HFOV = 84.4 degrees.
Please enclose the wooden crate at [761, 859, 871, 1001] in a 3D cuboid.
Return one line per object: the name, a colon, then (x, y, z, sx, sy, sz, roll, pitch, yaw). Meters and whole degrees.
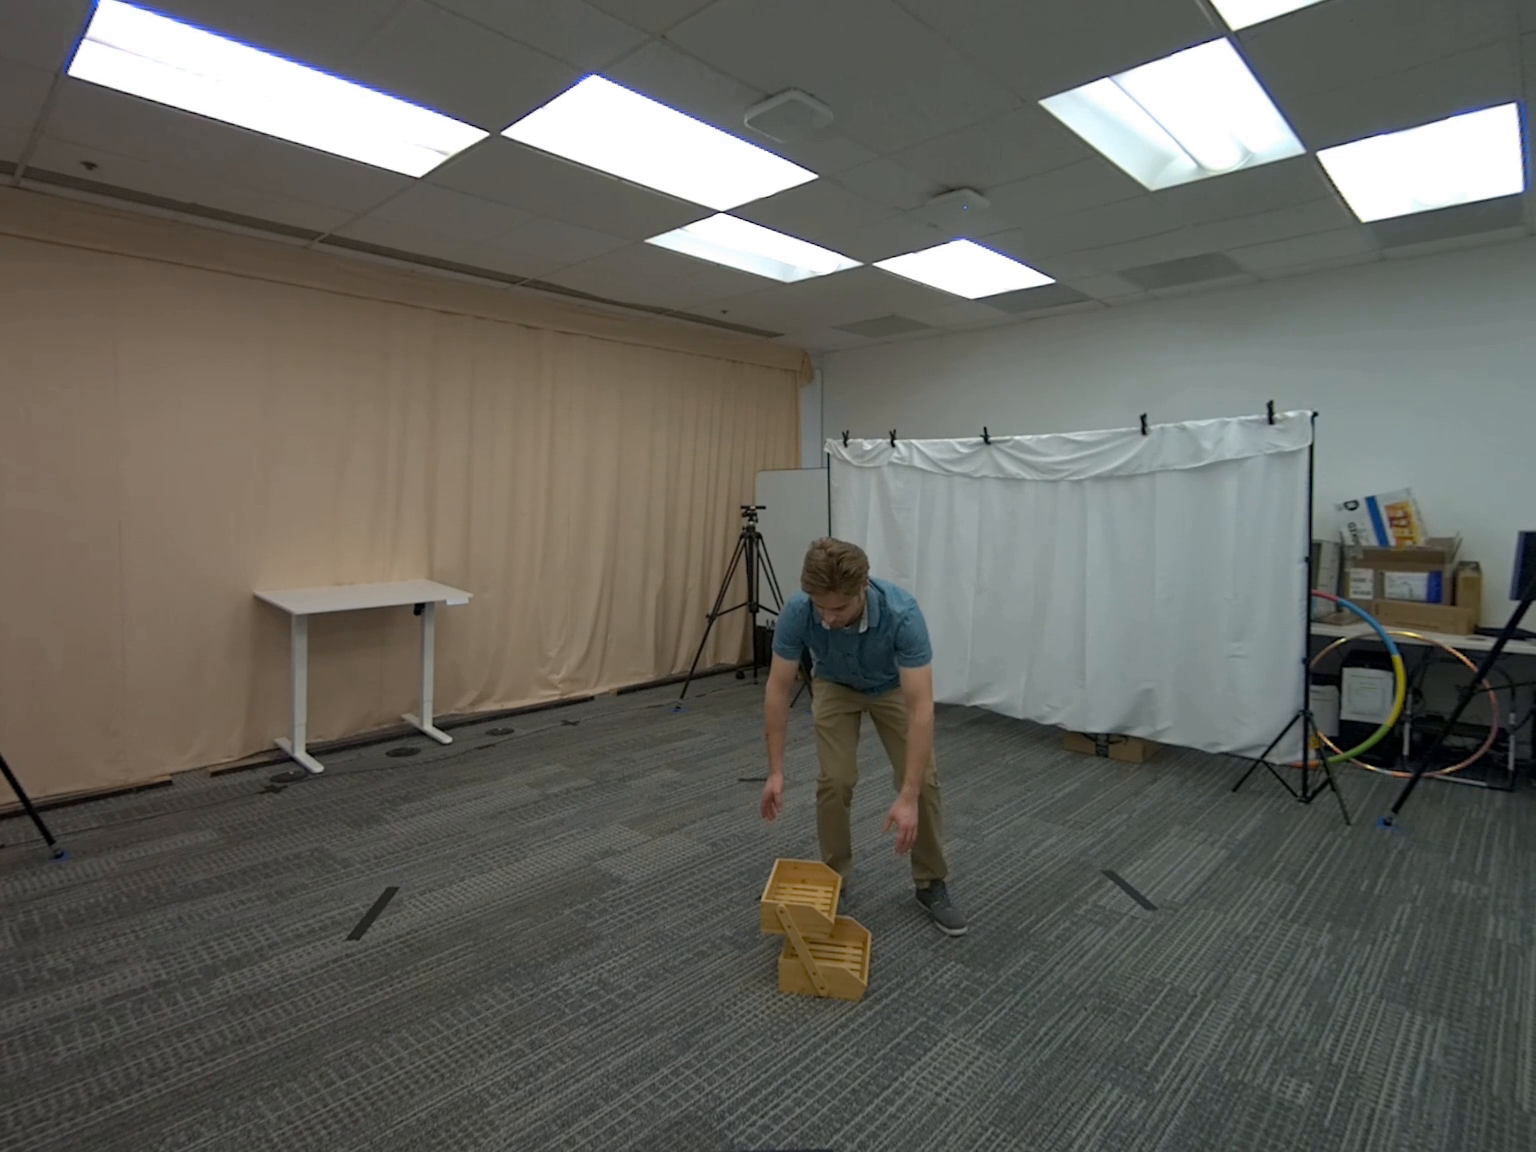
wooden crate: (0.165, 1.051, 2.528, 0.306, 0.273, 0.321, 0, 4, 10)
